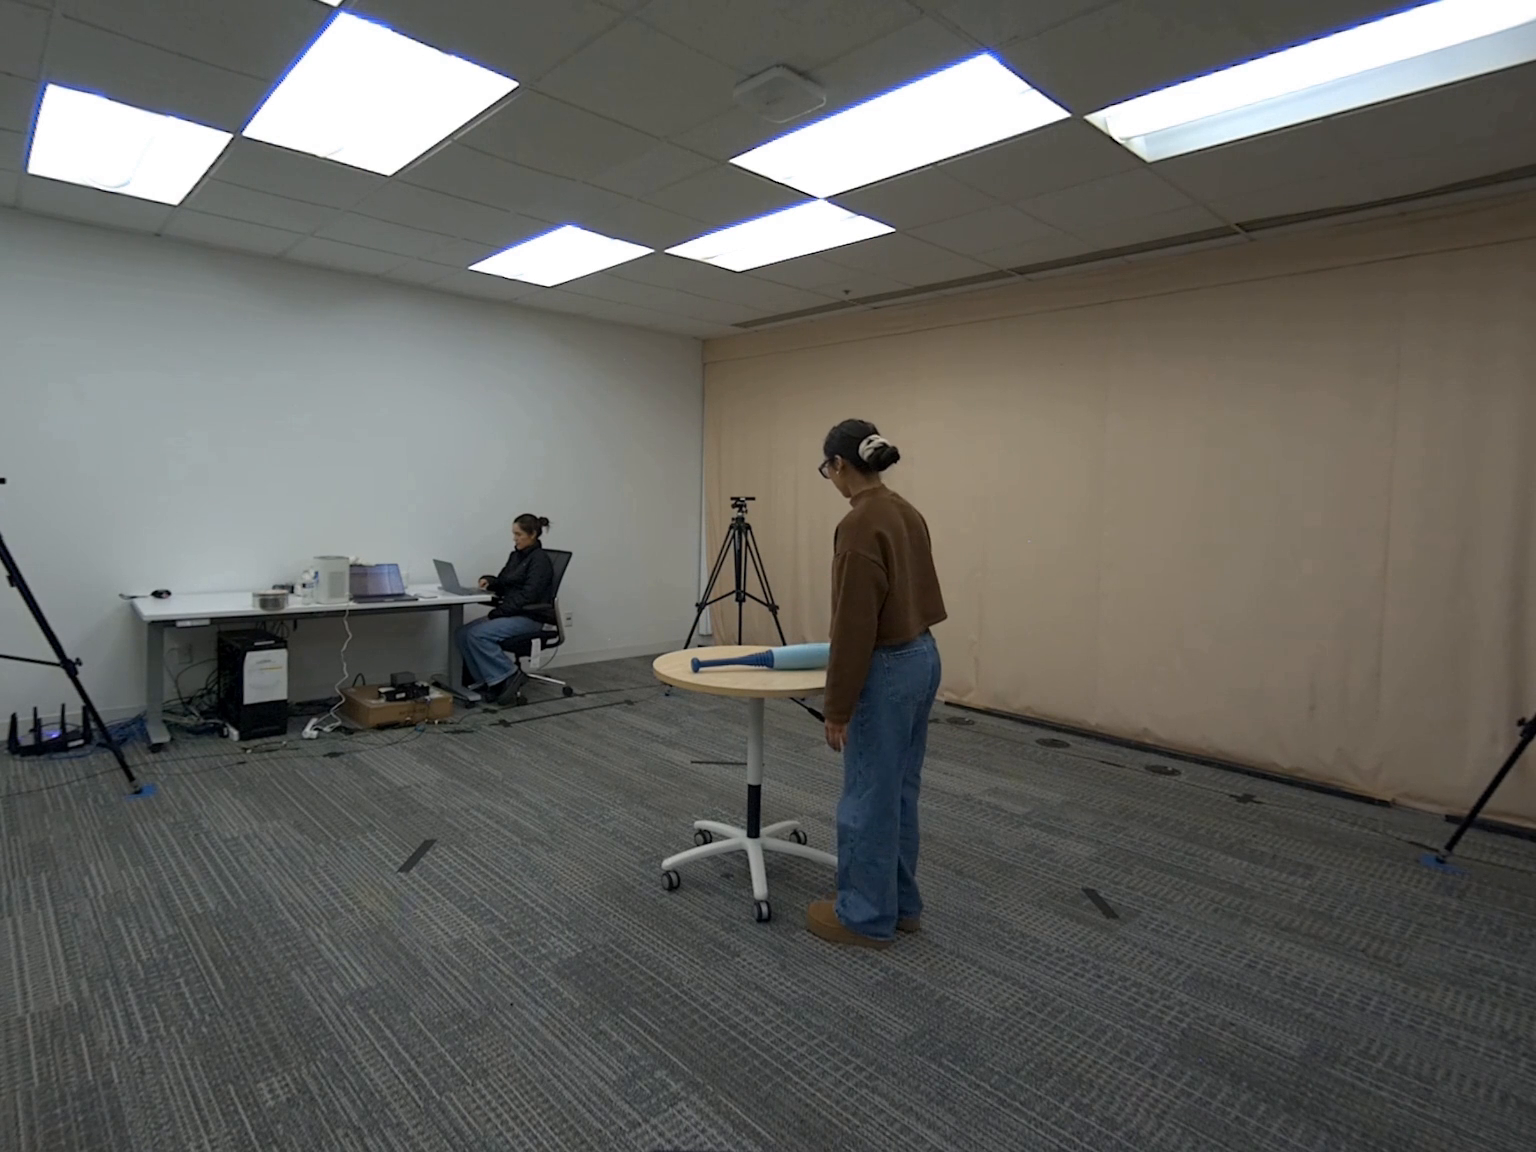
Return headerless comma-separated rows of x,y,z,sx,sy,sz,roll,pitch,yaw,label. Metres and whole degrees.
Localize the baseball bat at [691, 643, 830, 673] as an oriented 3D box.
-0.010,0.301,2.997,0.537,0.089,0.090,-3,5,-15,baseball bat
